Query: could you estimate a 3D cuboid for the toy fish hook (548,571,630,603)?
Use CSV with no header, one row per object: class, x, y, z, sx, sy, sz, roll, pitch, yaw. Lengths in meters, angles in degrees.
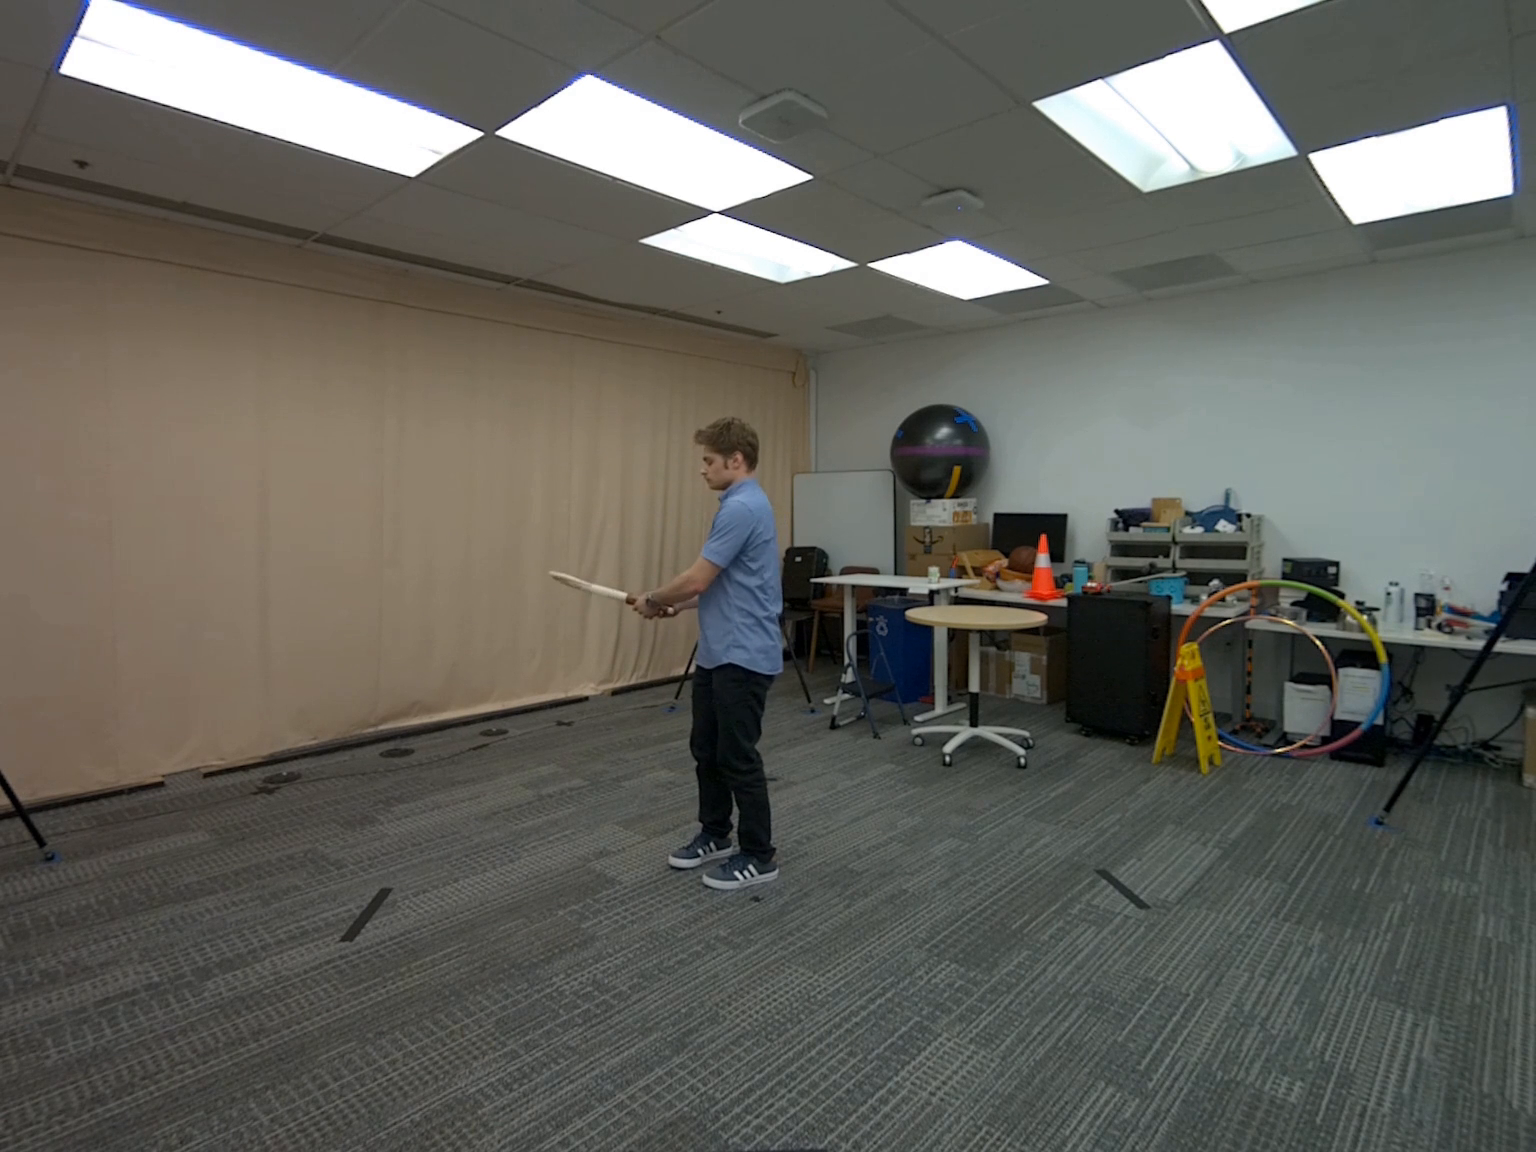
toy fish hook,-0.580,0.069,3.215,0.514,0.048,0.221,14,-6,11
